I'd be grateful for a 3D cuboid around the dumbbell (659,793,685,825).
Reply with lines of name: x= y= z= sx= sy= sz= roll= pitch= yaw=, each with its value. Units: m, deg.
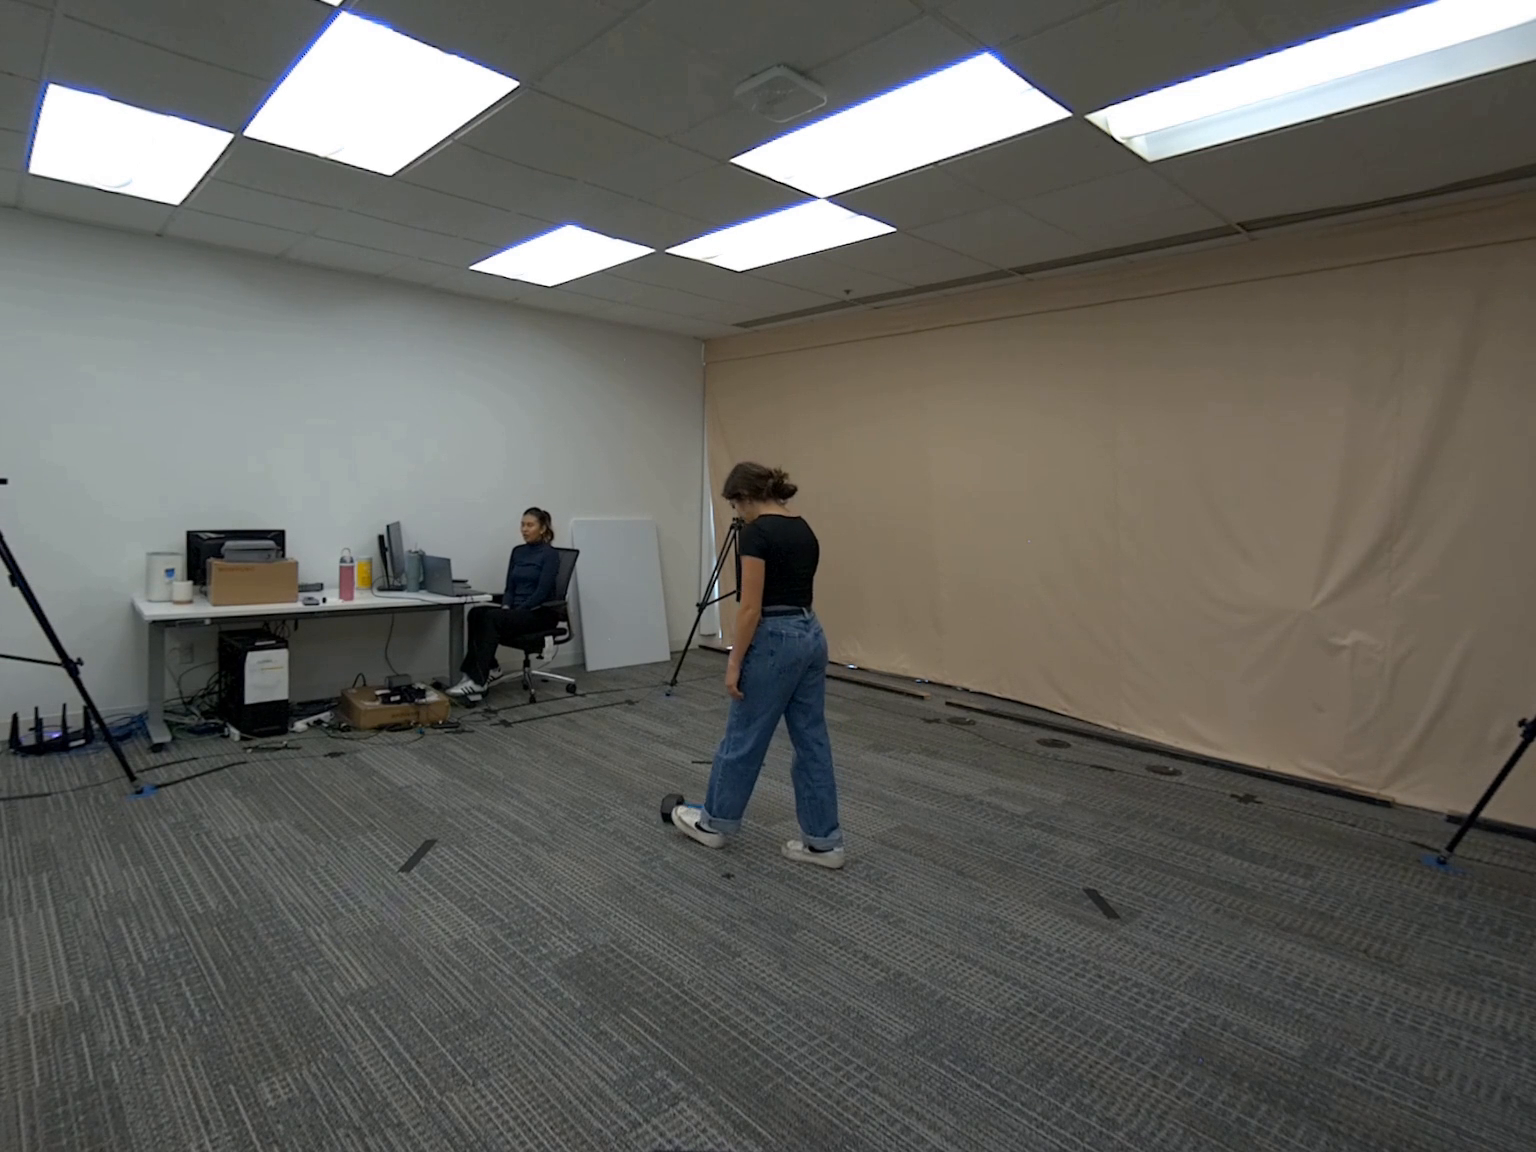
dumbbell: x=-0.313 y=1.007 z=3.589 sx=0.298 sy=0.124 sz=0.106 roll=3 pitch=-26 yaw=18
